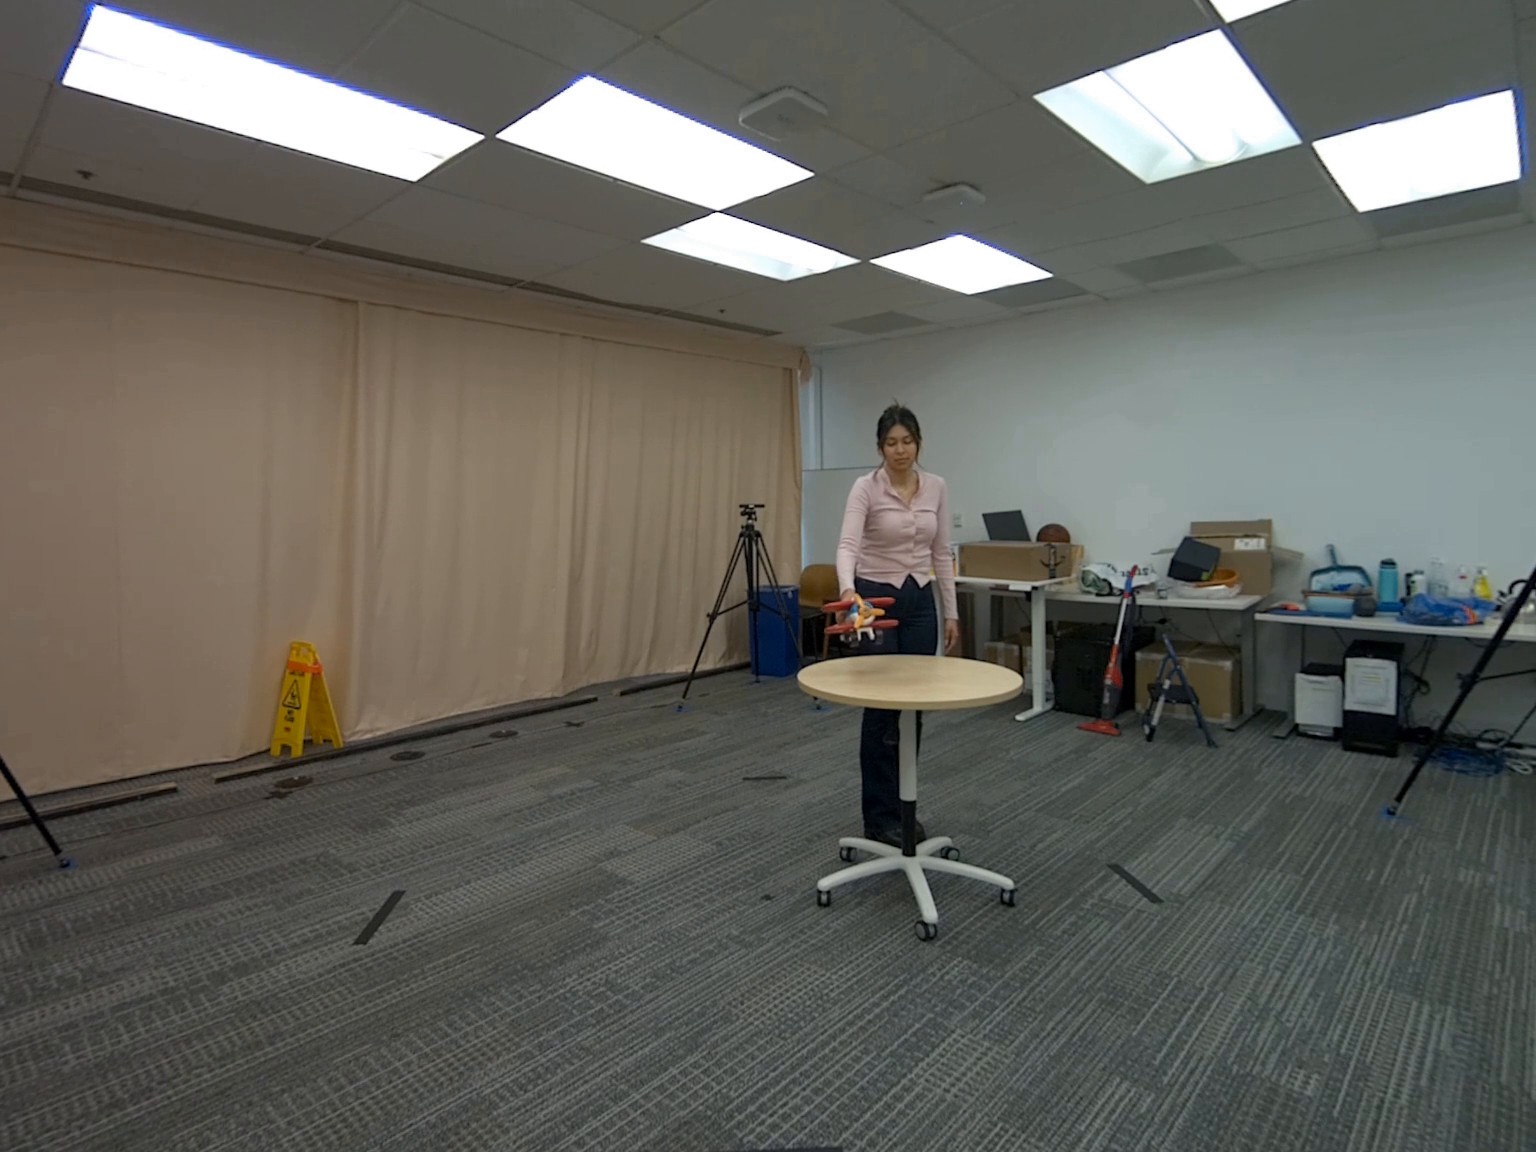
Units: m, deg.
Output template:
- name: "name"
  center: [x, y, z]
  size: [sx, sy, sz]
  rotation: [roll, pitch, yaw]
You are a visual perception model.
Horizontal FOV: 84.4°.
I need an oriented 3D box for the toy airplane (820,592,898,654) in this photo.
- name: "toy airplane"
  center: [0.298, 0.163, 2.950]
  size: [0.244, 0.156, 0.267]
  rotation: [-3, -1, -36]
